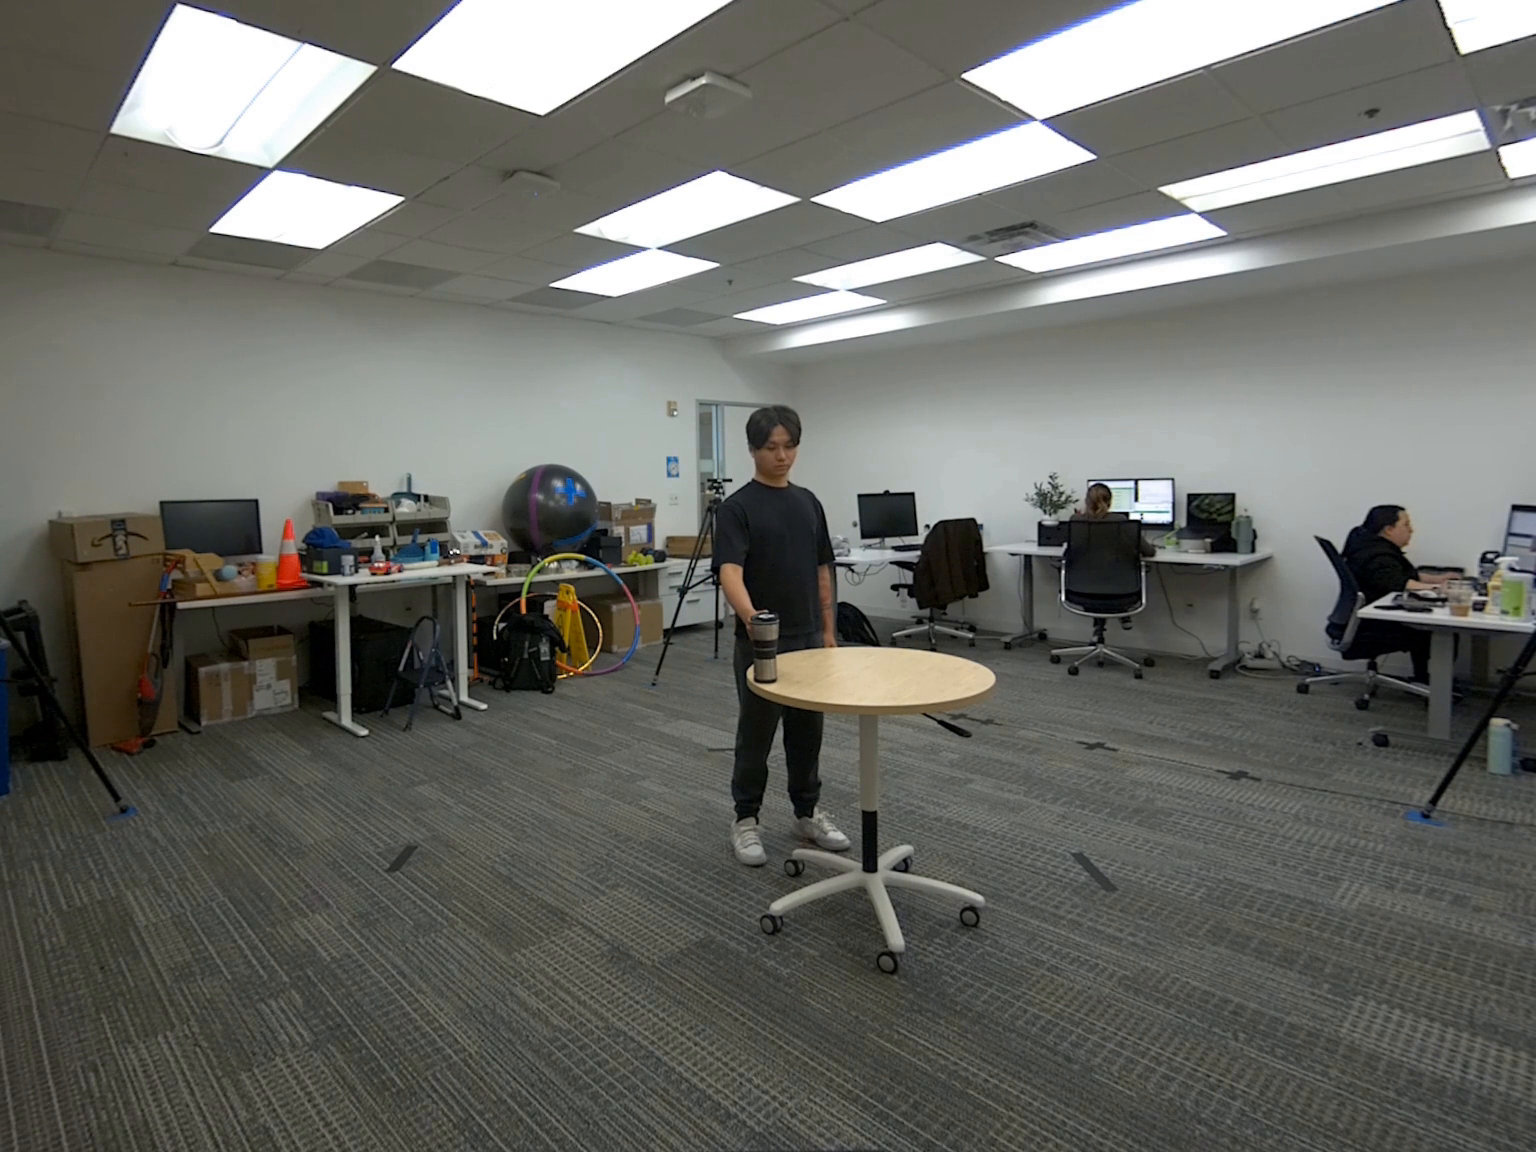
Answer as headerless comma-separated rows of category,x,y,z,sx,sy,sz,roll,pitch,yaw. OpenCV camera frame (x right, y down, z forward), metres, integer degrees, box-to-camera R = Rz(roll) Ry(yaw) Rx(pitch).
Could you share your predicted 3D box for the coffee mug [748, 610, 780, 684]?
coffee mug,0.005,0.222,2.611,0.090,0.202,0.119,-2,5,42
